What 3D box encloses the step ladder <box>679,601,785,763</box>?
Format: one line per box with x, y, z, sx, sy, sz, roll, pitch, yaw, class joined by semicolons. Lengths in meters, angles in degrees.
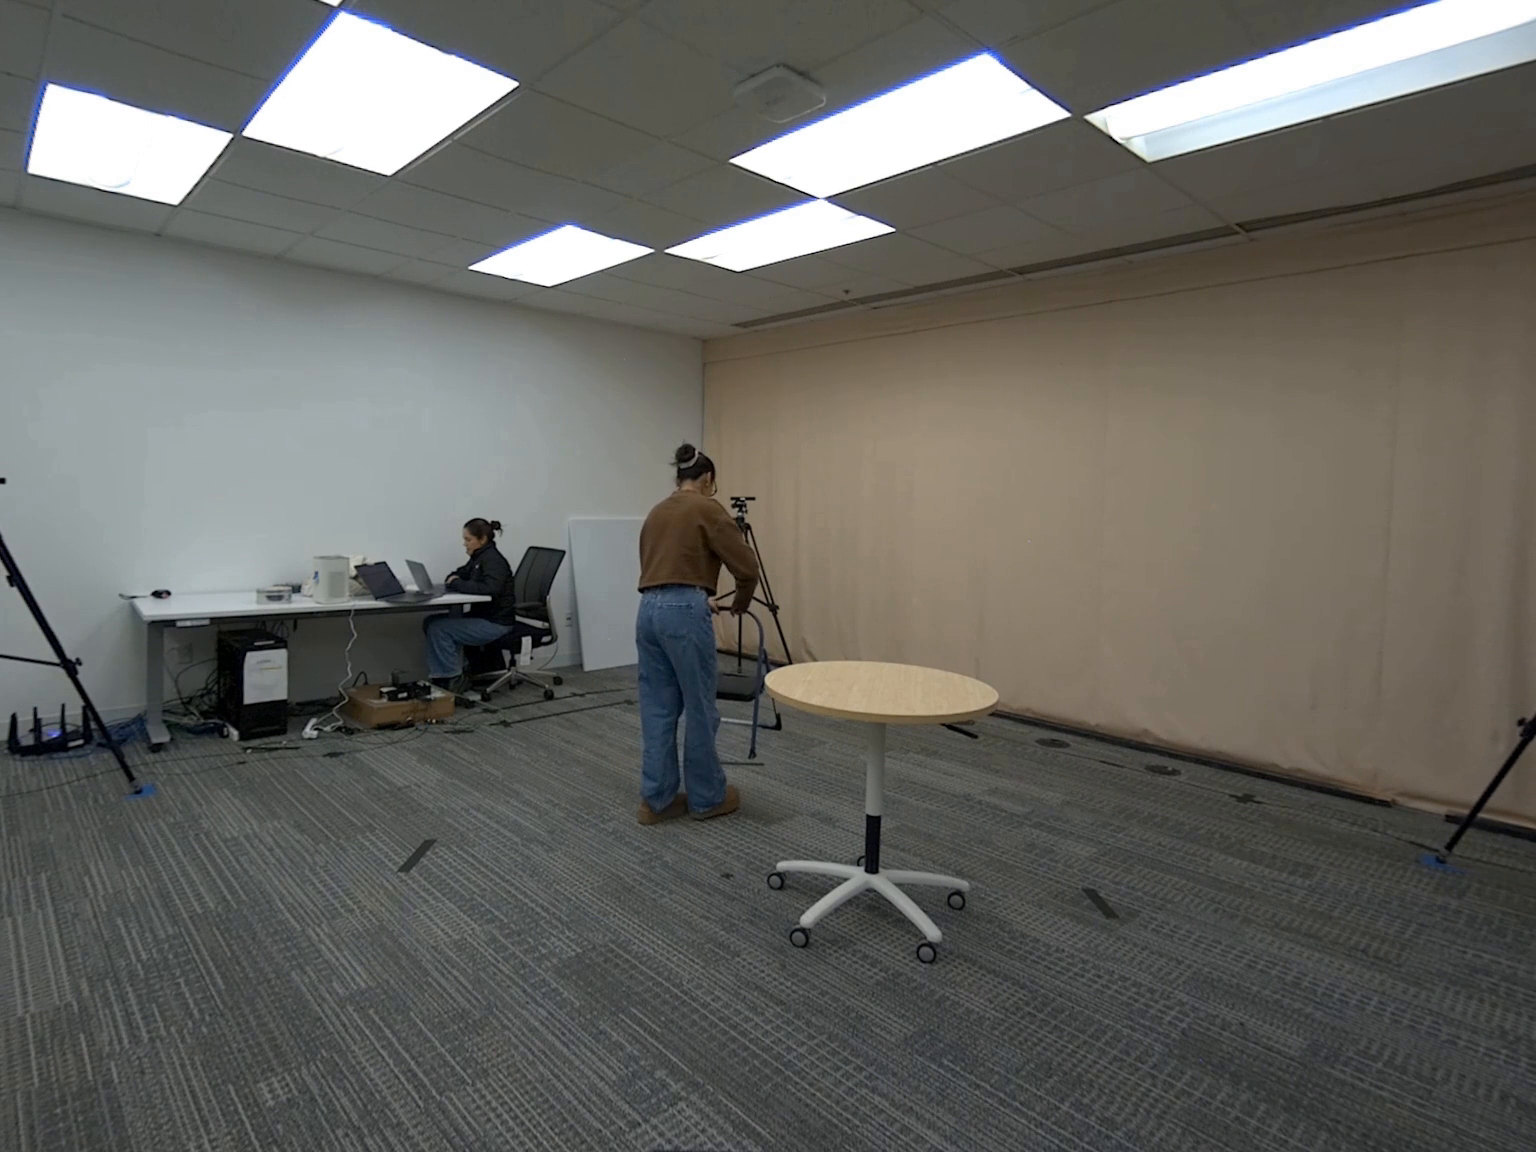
-0.202;0.458;3.841;0.439;0.601;0.345;2;11;25;step ladder
